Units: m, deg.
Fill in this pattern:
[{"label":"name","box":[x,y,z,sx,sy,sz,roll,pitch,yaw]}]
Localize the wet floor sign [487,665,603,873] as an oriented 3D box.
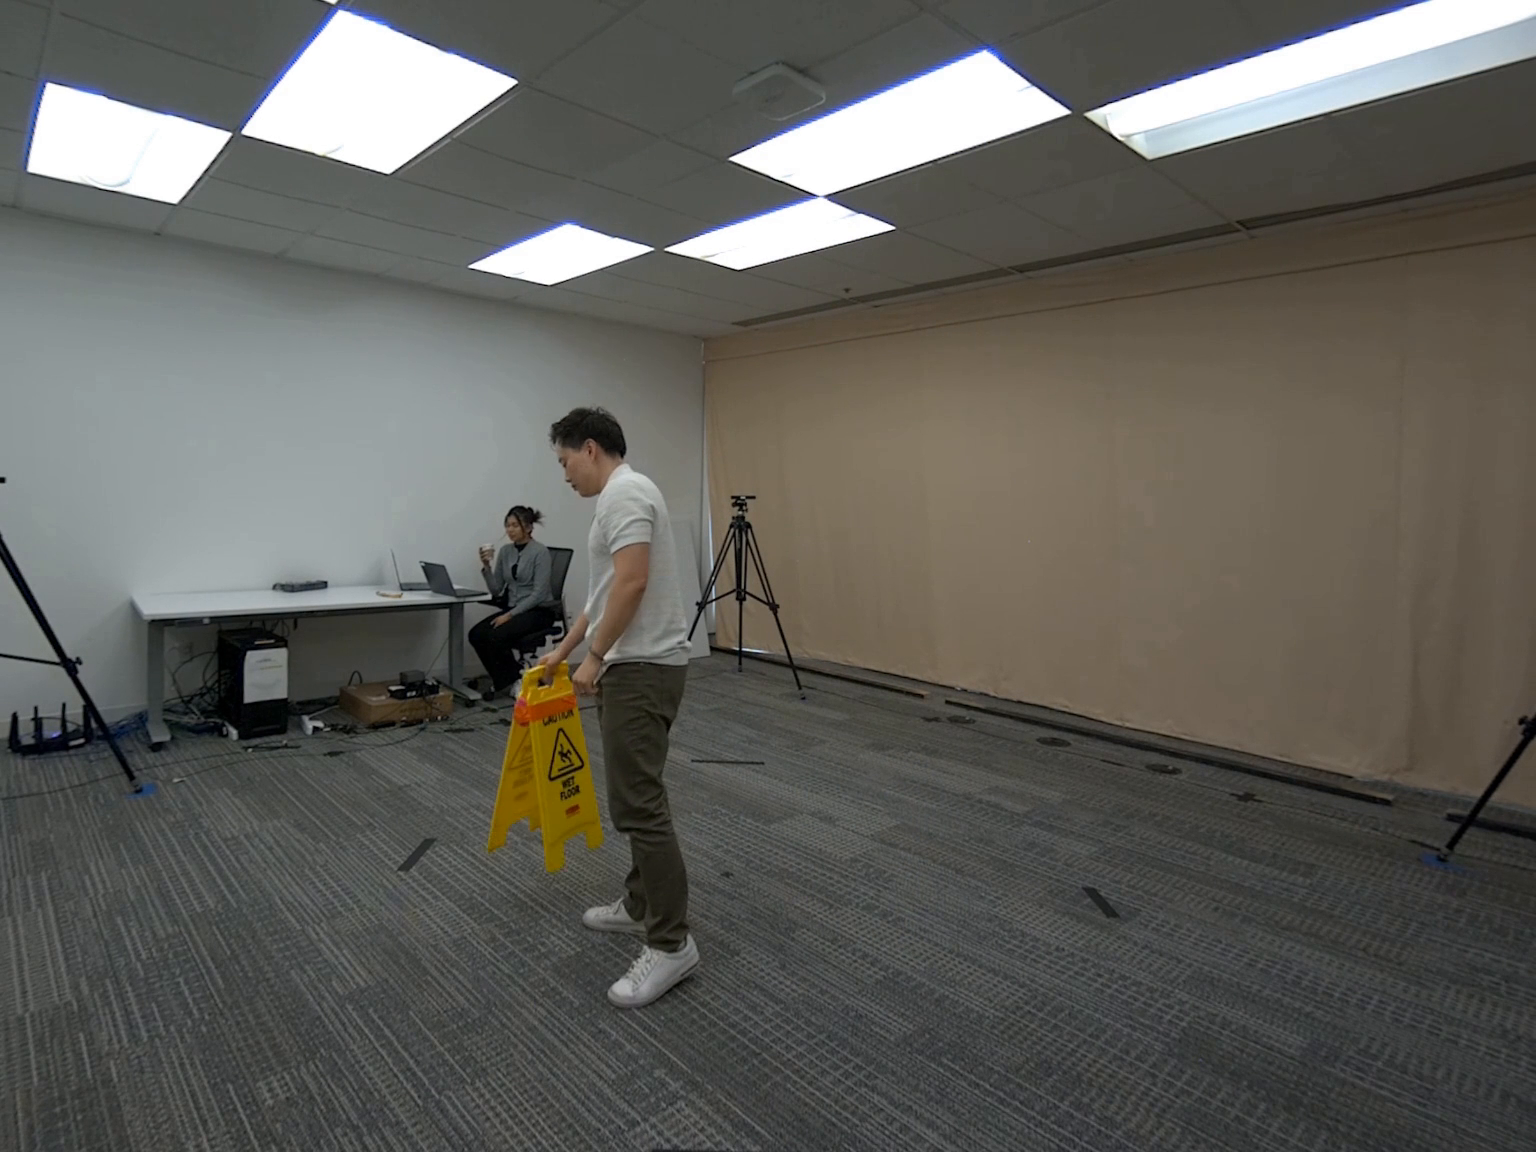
[{"label":"wet floor sign","box":[-0.771,0.621,2.891,0.296,0.643,0.277,5,6,29]}]
